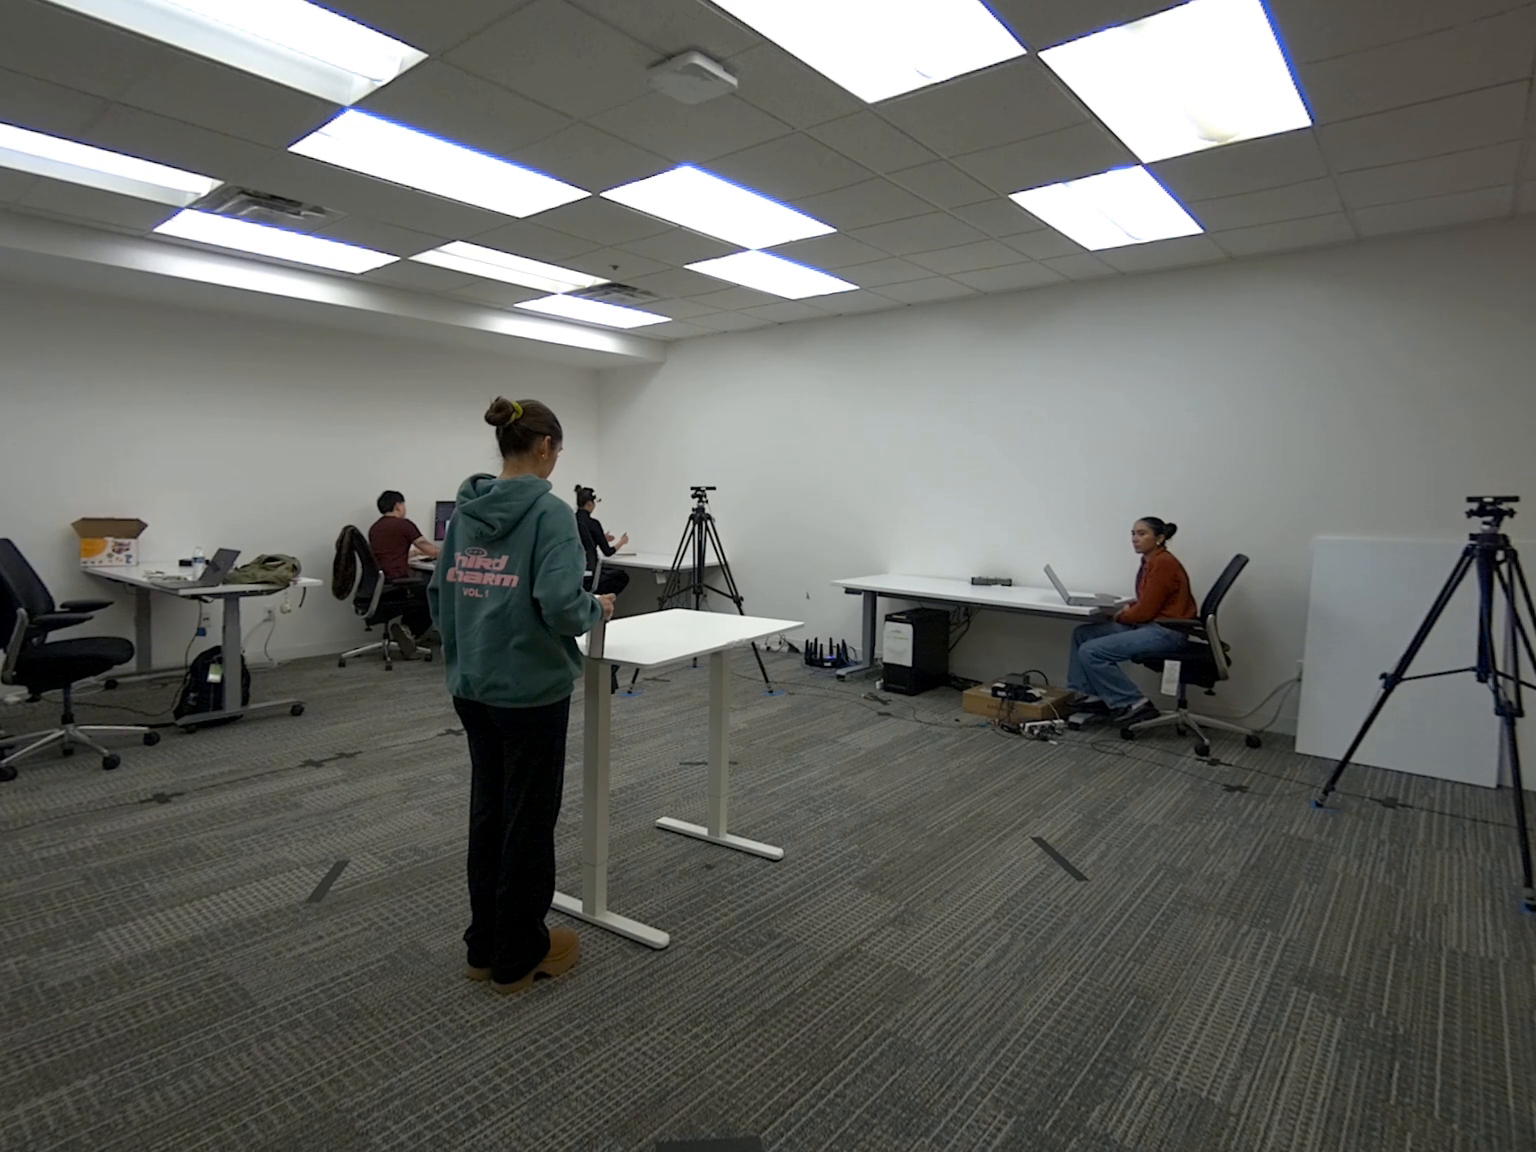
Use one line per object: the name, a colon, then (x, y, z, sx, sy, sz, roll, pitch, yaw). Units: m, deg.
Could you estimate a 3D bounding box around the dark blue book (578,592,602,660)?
dark blue book: (-0.549, 0.147, 2.586, 0.045, 0.163, 0.247, -2, 5, -6)
